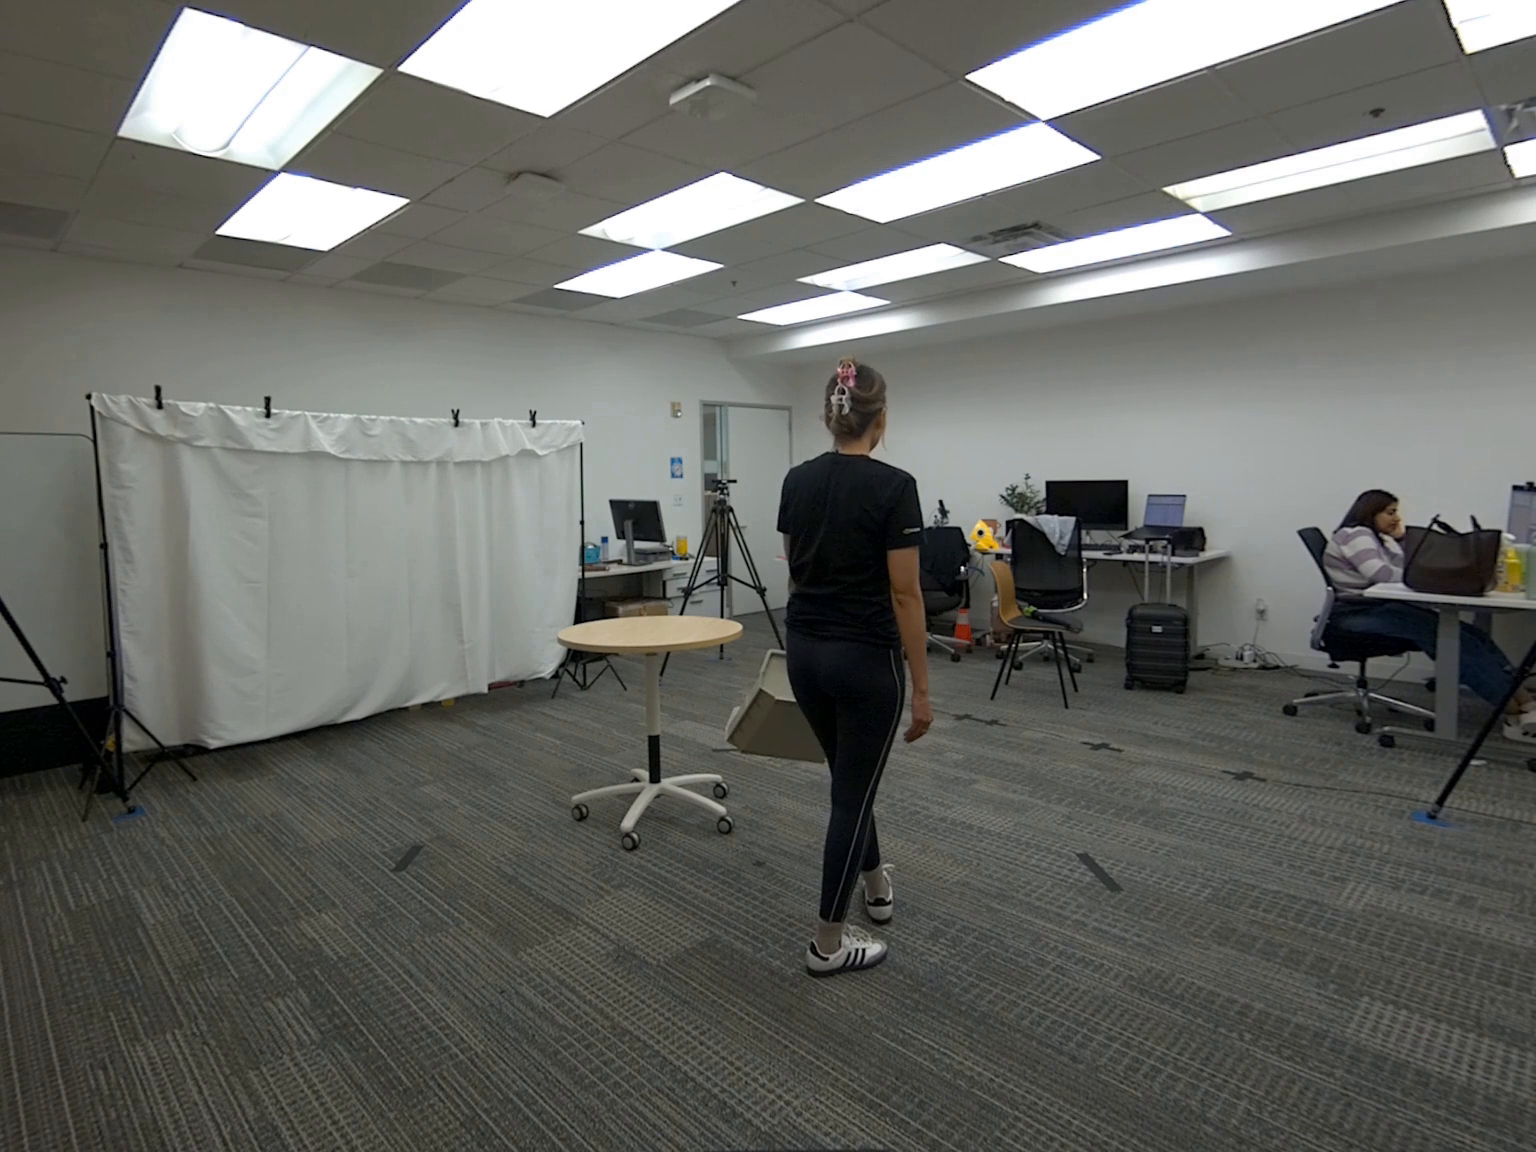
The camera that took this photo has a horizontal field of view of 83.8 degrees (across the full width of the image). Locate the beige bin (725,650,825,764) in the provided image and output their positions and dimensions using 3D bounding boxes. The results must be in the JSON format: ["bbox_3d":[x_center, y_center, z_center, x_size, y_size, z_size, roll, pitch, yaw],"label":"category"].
[{"bbox_3d":[0.100,0.454,2.917,0.372,0.194,0.417,11,-39,-12],"label":"beige bin"}]
